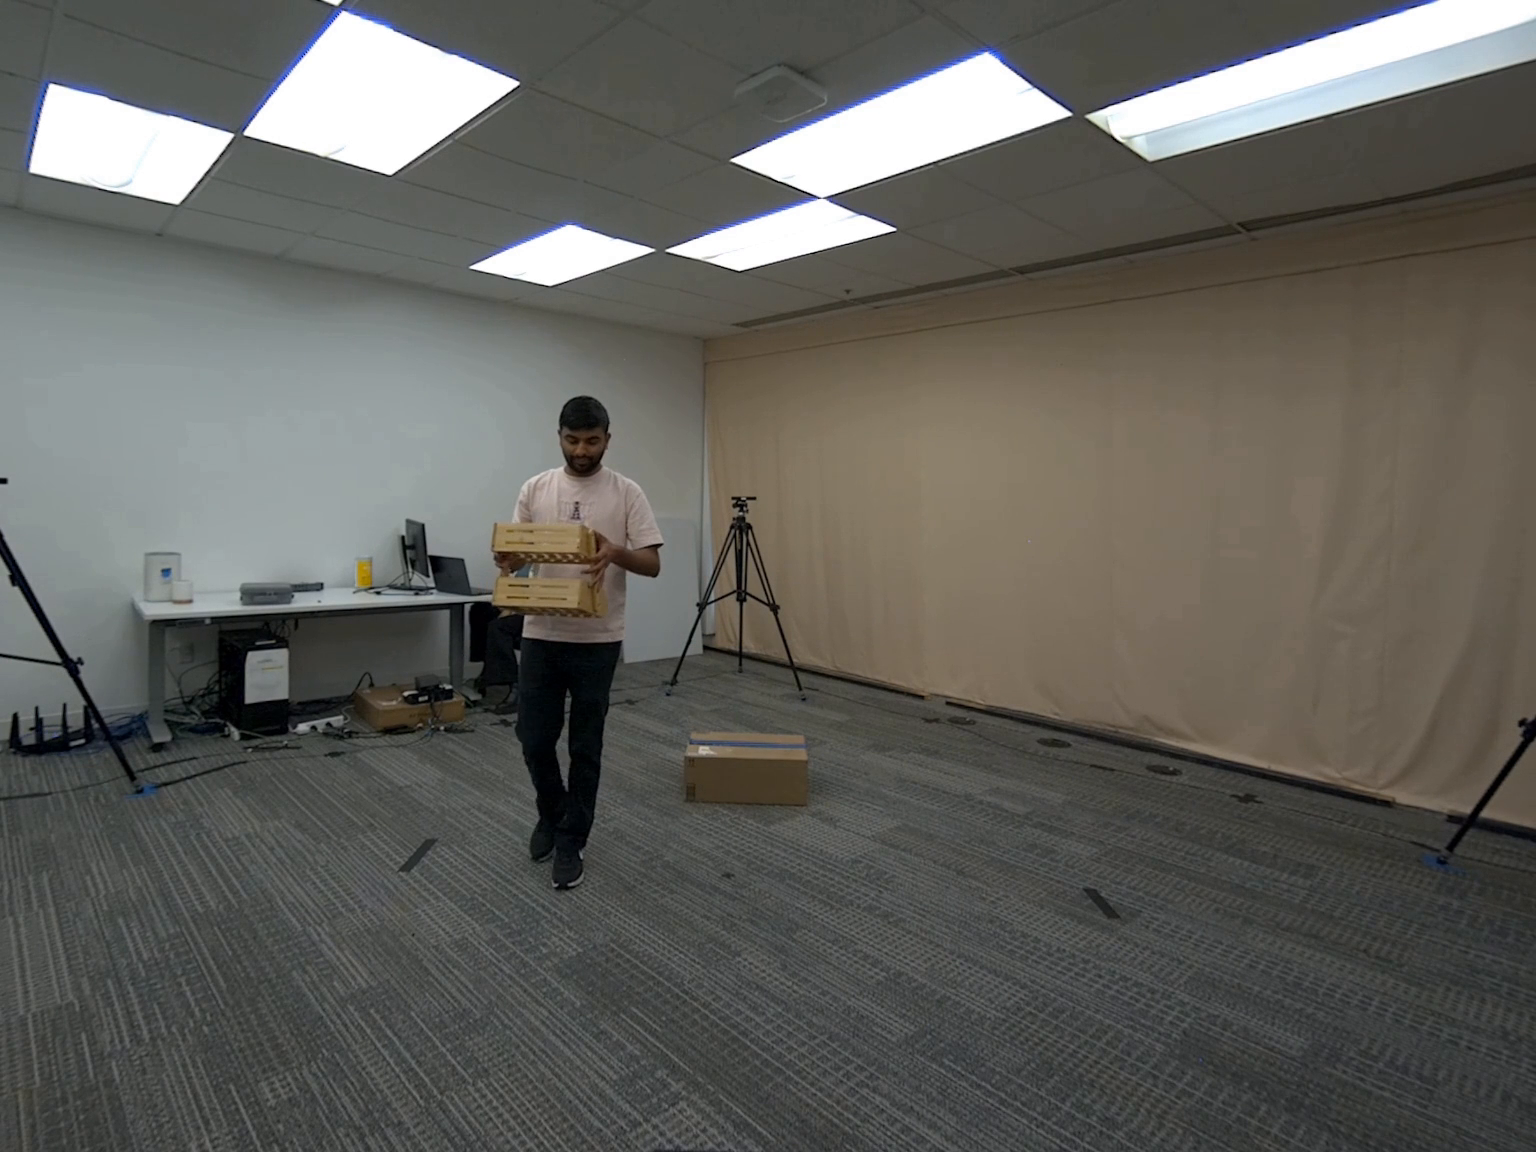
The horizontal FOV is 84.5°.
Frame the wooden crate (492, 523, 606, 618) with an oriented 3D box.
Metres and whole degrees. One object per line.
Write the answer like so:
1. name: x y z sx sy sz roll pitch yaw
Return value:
1. wooden crate: -0.718 -0.015 2.790 0.327 0.275 0.297 2 -11 9
